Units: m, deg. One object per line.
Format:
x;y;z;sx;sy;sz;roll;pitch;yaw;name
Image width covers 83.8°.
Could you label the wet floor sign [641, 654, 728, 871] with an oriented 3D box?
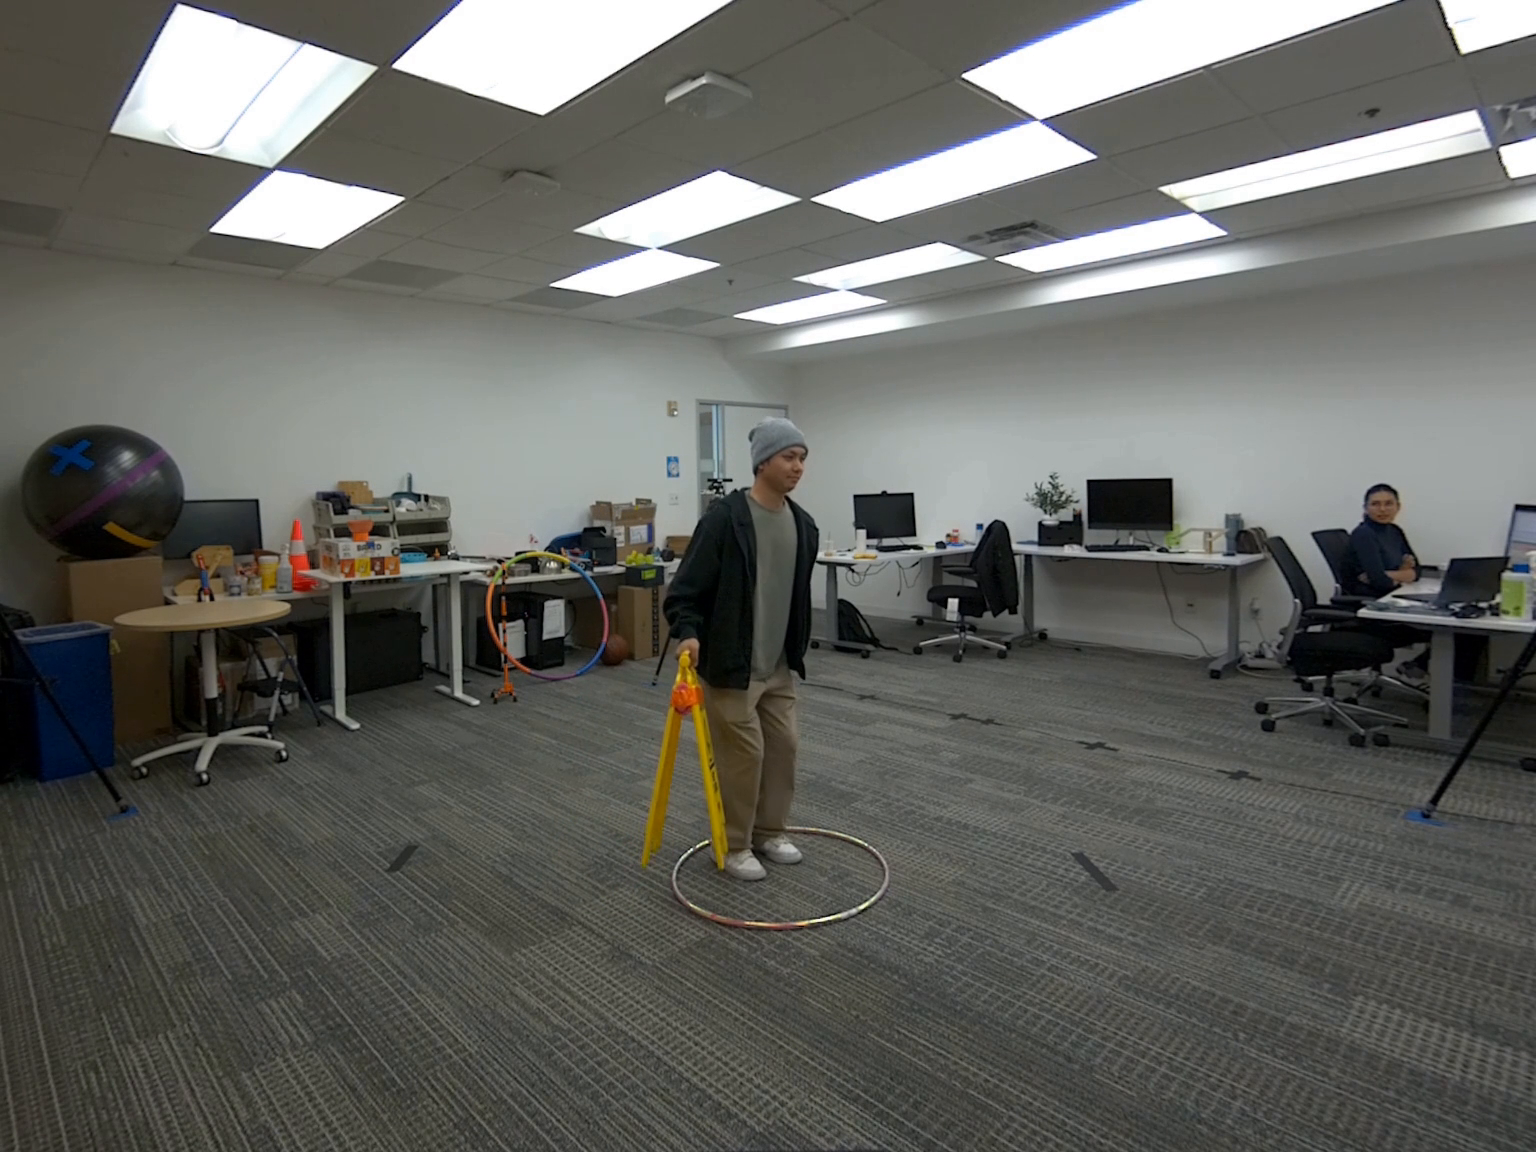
-0.257;0.575;2.737;0.291;0.650;0.280;-1;-6;3;wet floor sign
